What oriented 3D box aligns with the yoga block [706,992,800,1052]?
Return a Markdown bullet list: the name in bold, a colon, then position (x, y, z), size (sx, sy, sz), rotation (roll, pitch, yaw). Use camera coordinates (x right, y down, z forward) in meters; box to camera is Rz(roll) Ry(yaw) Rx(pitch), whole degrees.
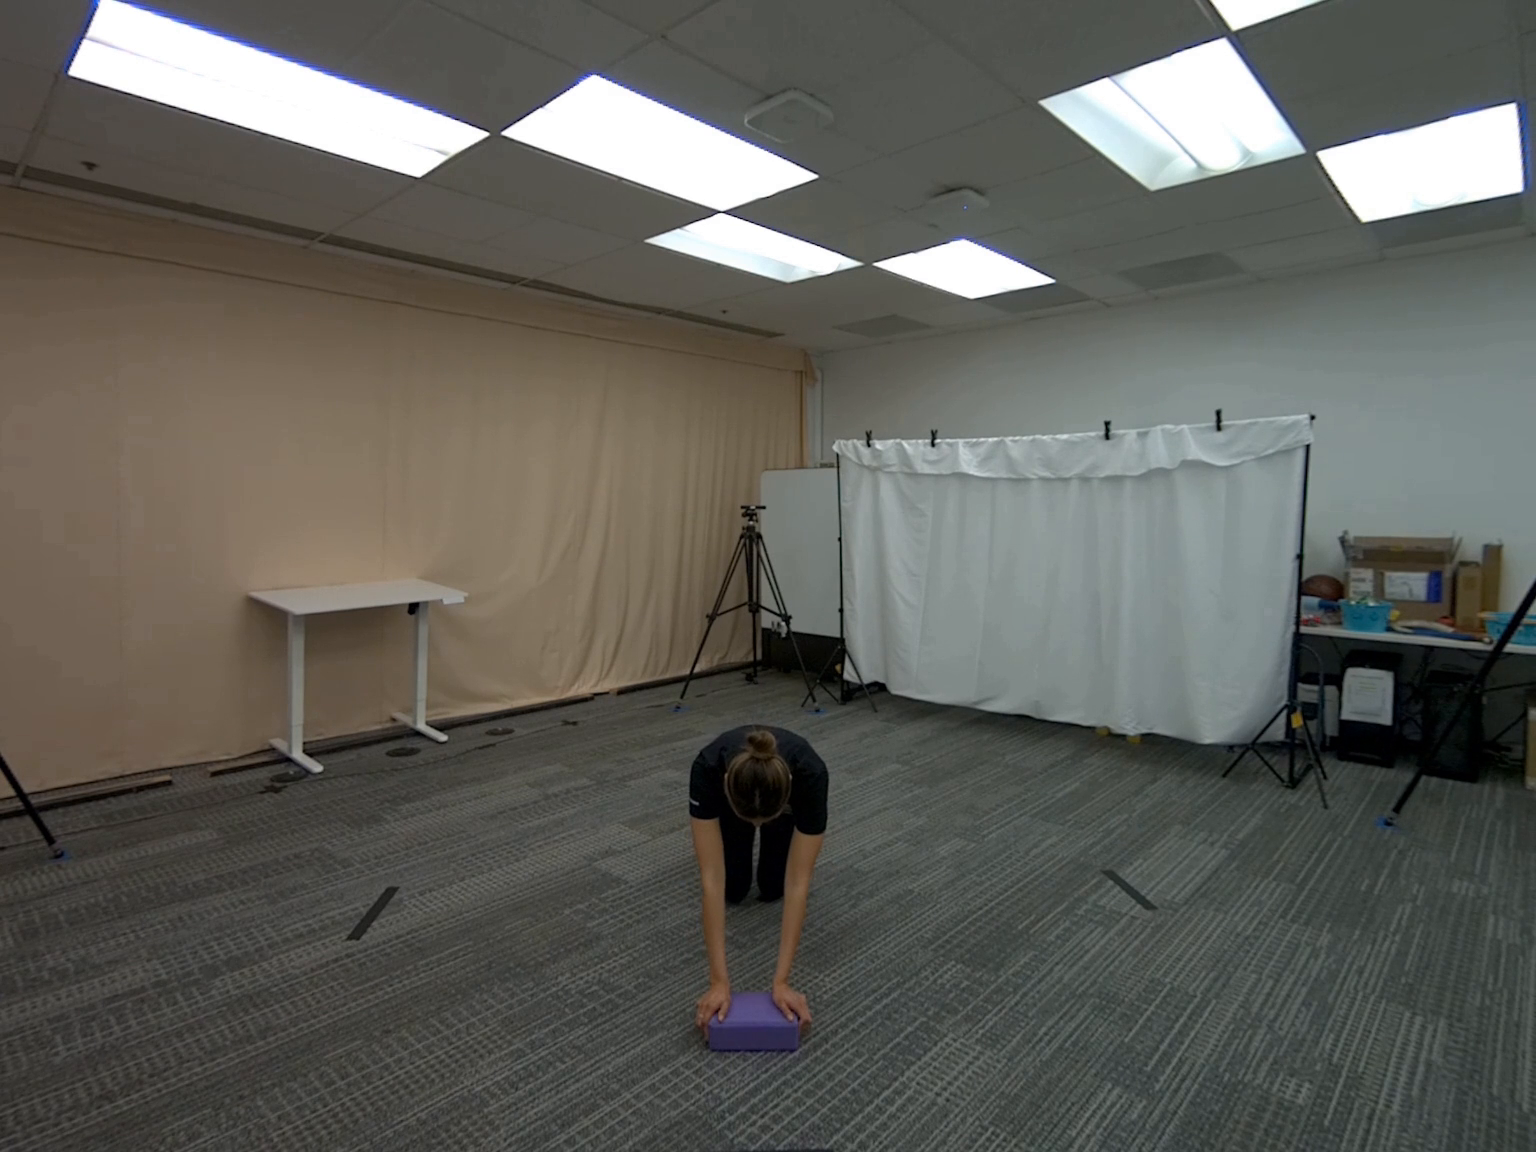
- **yoga block**: position (-0.043, 1.166, 2.218), size (0.229, 0.076, 0.149), rotation (-1, 5, 0)
